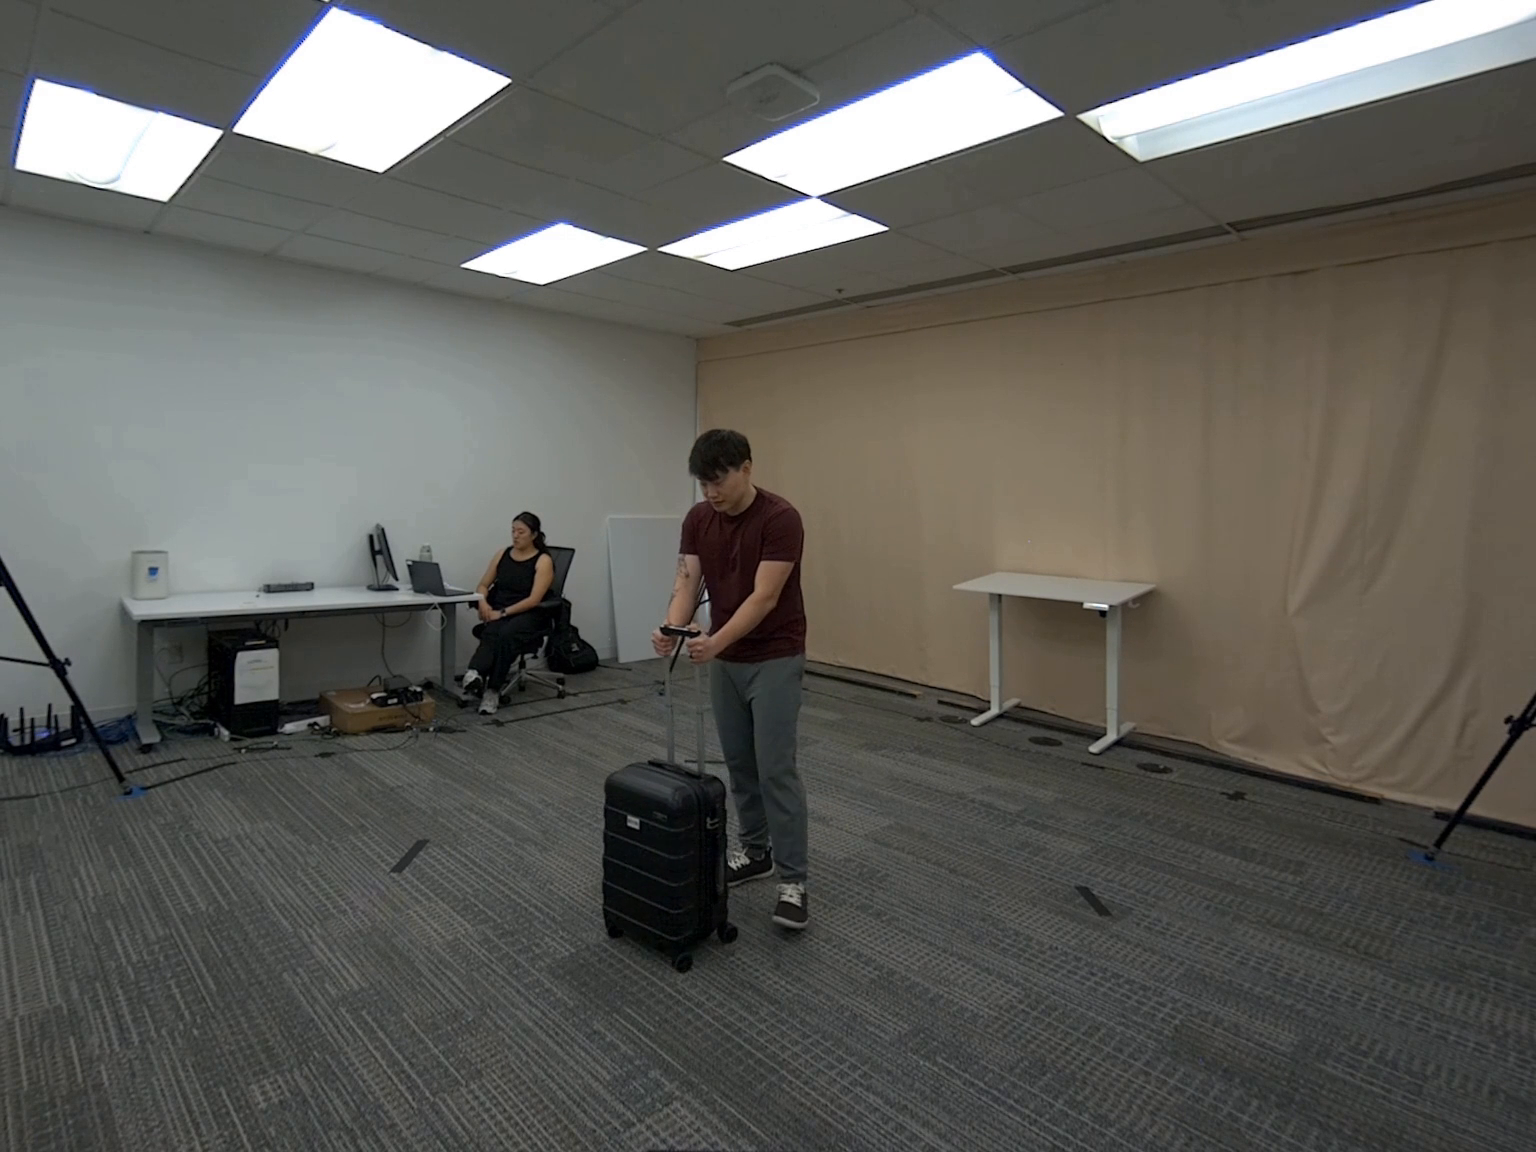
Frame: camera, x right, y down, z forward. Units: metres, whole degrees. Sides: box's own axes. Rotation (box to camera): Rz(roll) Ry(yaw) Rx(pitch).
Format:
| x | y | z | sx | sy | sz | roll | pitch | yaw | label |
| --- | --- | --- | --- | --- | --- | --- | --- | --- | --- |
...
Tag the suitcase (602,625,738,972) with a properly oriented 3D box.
| x | y | z | sx | sy | sz | roll | pitch | yaw | label |
| --- | --- | --- | --- | --- | --- | --- | --- | --- | --- |
| -0.332 | 0.673 | 2.592 | 0.393 | 0.973 | 0.252 | 4 | 9 | 38 | suitcase |
